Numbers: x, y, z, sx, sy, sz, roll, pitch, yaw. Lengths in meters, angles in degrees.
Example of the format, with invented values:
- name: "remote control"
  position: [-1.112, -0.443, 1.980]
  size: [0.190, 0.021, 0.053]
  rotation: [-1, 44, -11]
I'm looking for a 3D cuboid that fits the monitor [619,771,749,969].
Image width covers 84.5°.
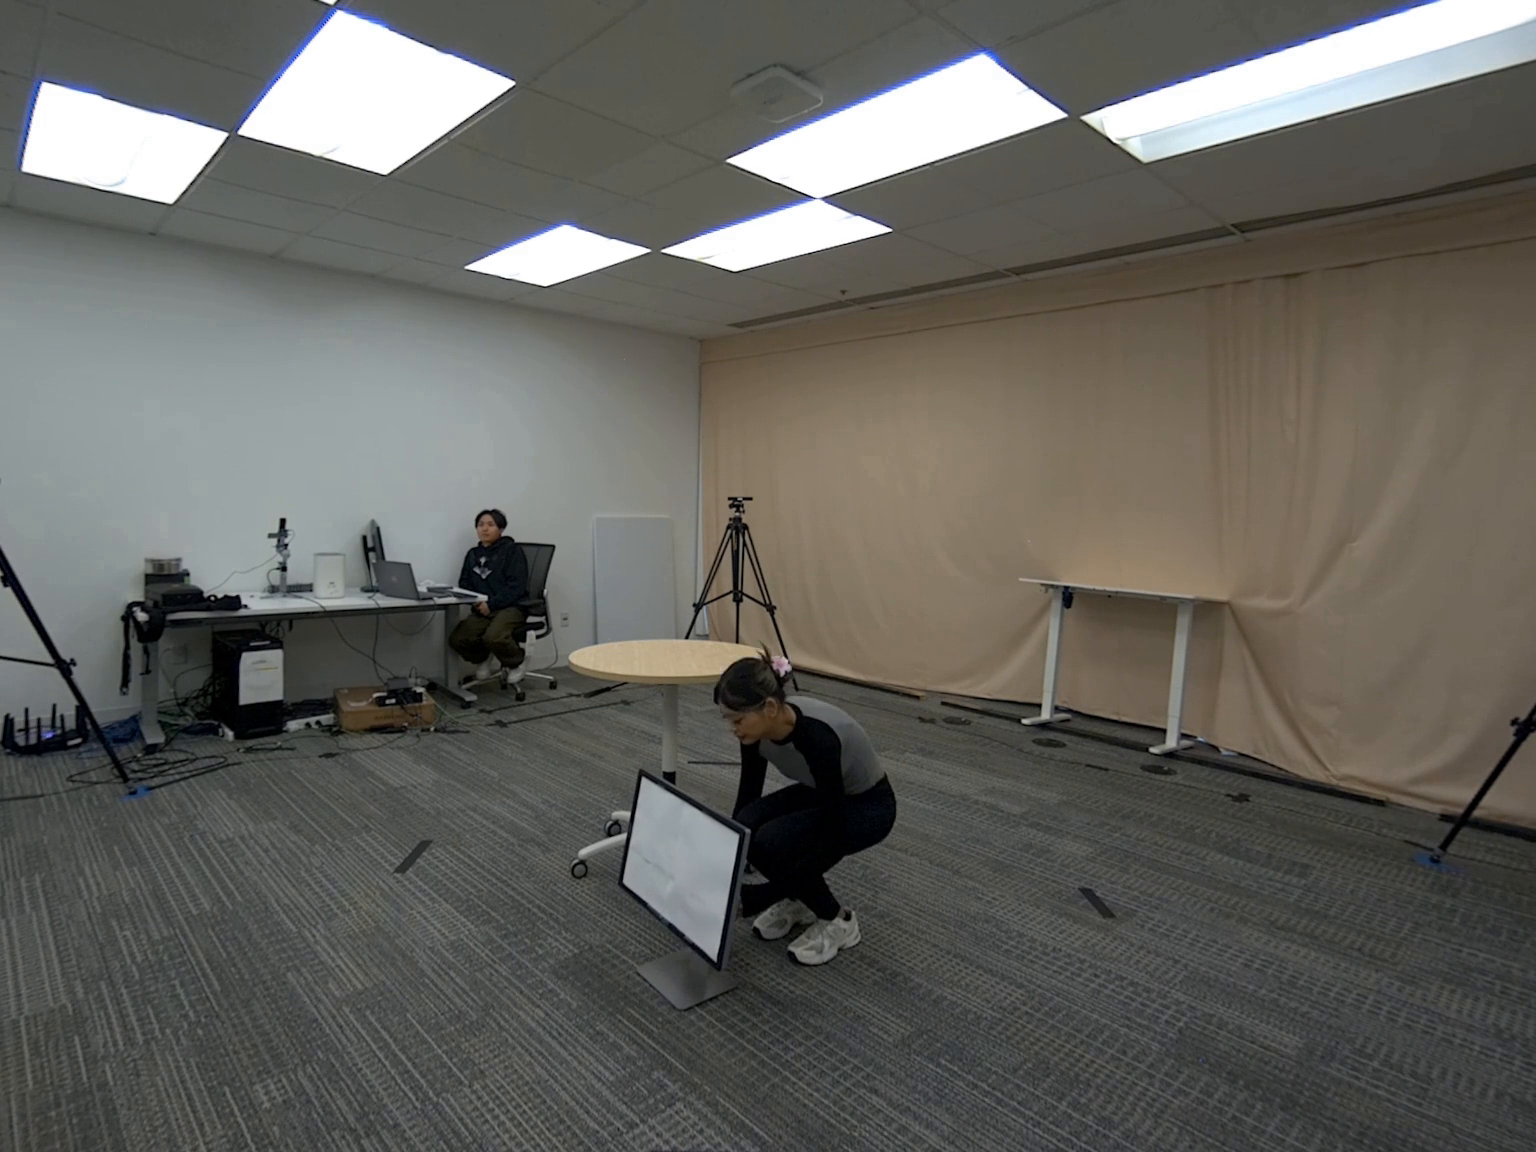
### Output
- name: "monitor"
  position: [-0.228, 0.908, 2.395]
  size: [0.183, 0.521, 0.553]
  rotation: [-3, 6, -39]
